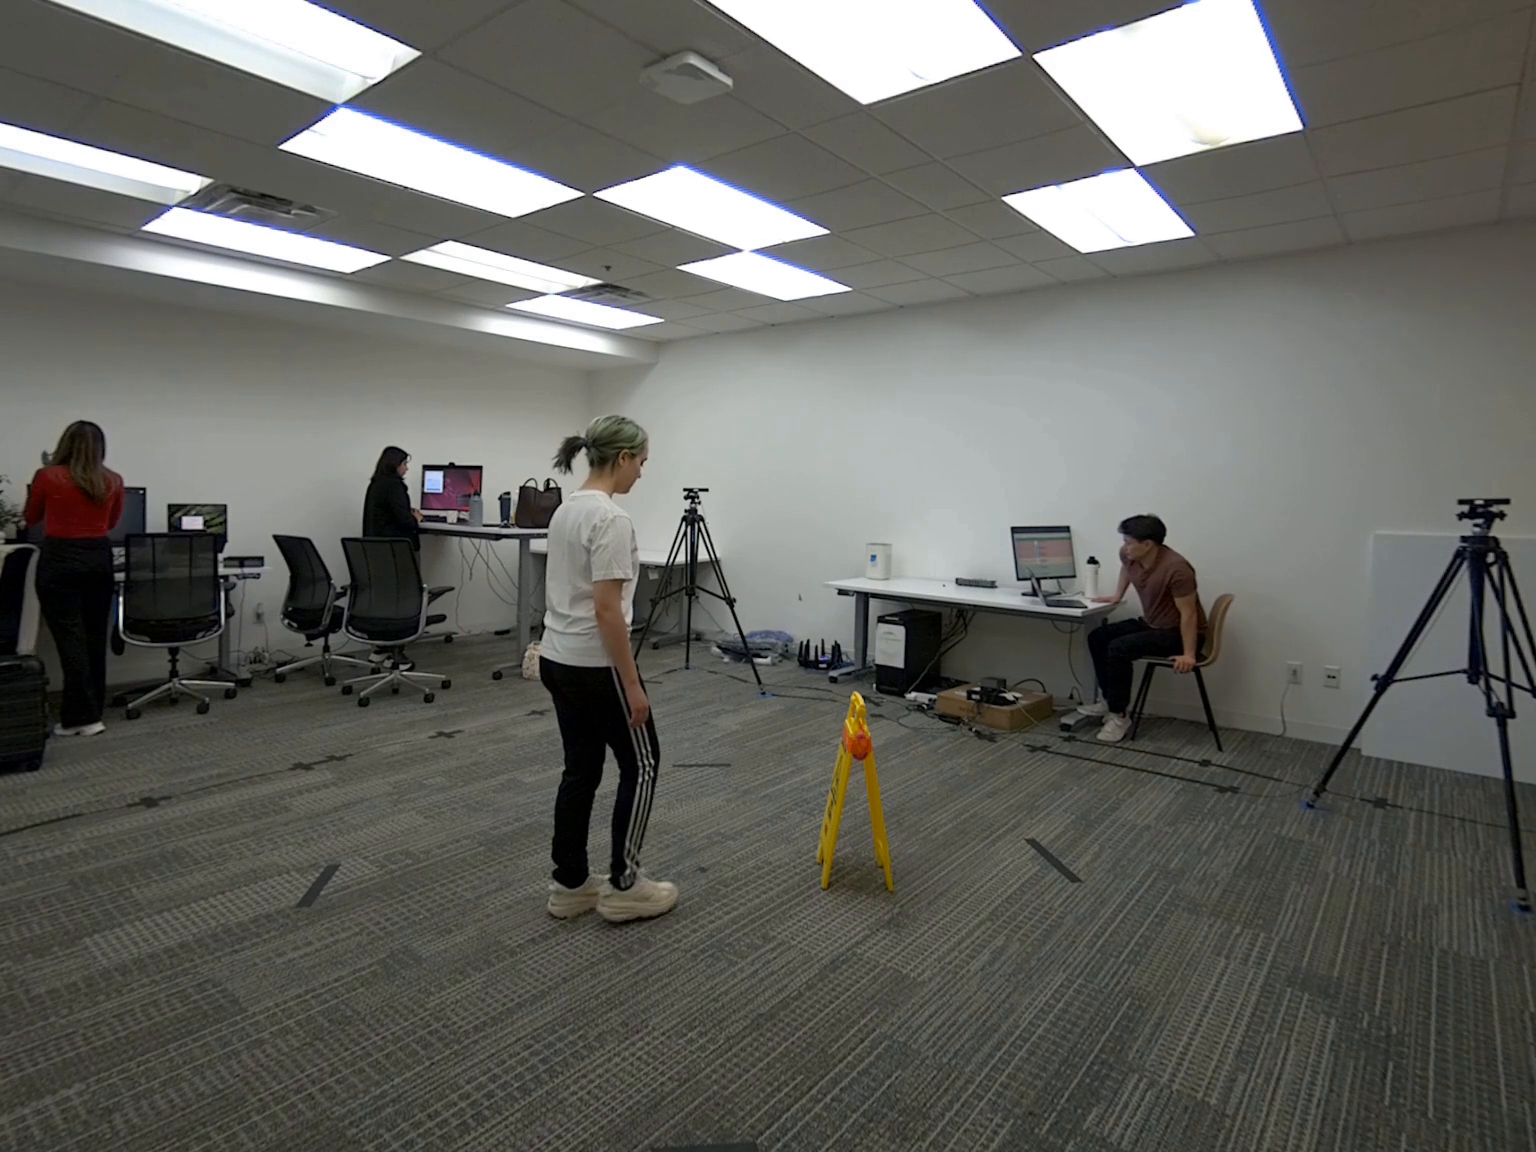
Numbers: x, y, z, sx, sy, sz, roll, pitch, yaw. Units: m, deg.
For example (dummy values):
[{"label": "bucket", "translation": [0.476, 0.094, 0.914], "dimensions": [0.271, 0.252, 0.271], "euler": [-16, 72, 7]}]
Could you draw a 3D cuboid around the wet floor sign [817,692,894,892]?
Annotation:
[{"label": "wet floor sign", "translation": [0.314, 0.760, 3.071], "dimensions": [0.290, 0.644, 0.283], "euler": [2, 4, -1]}]
